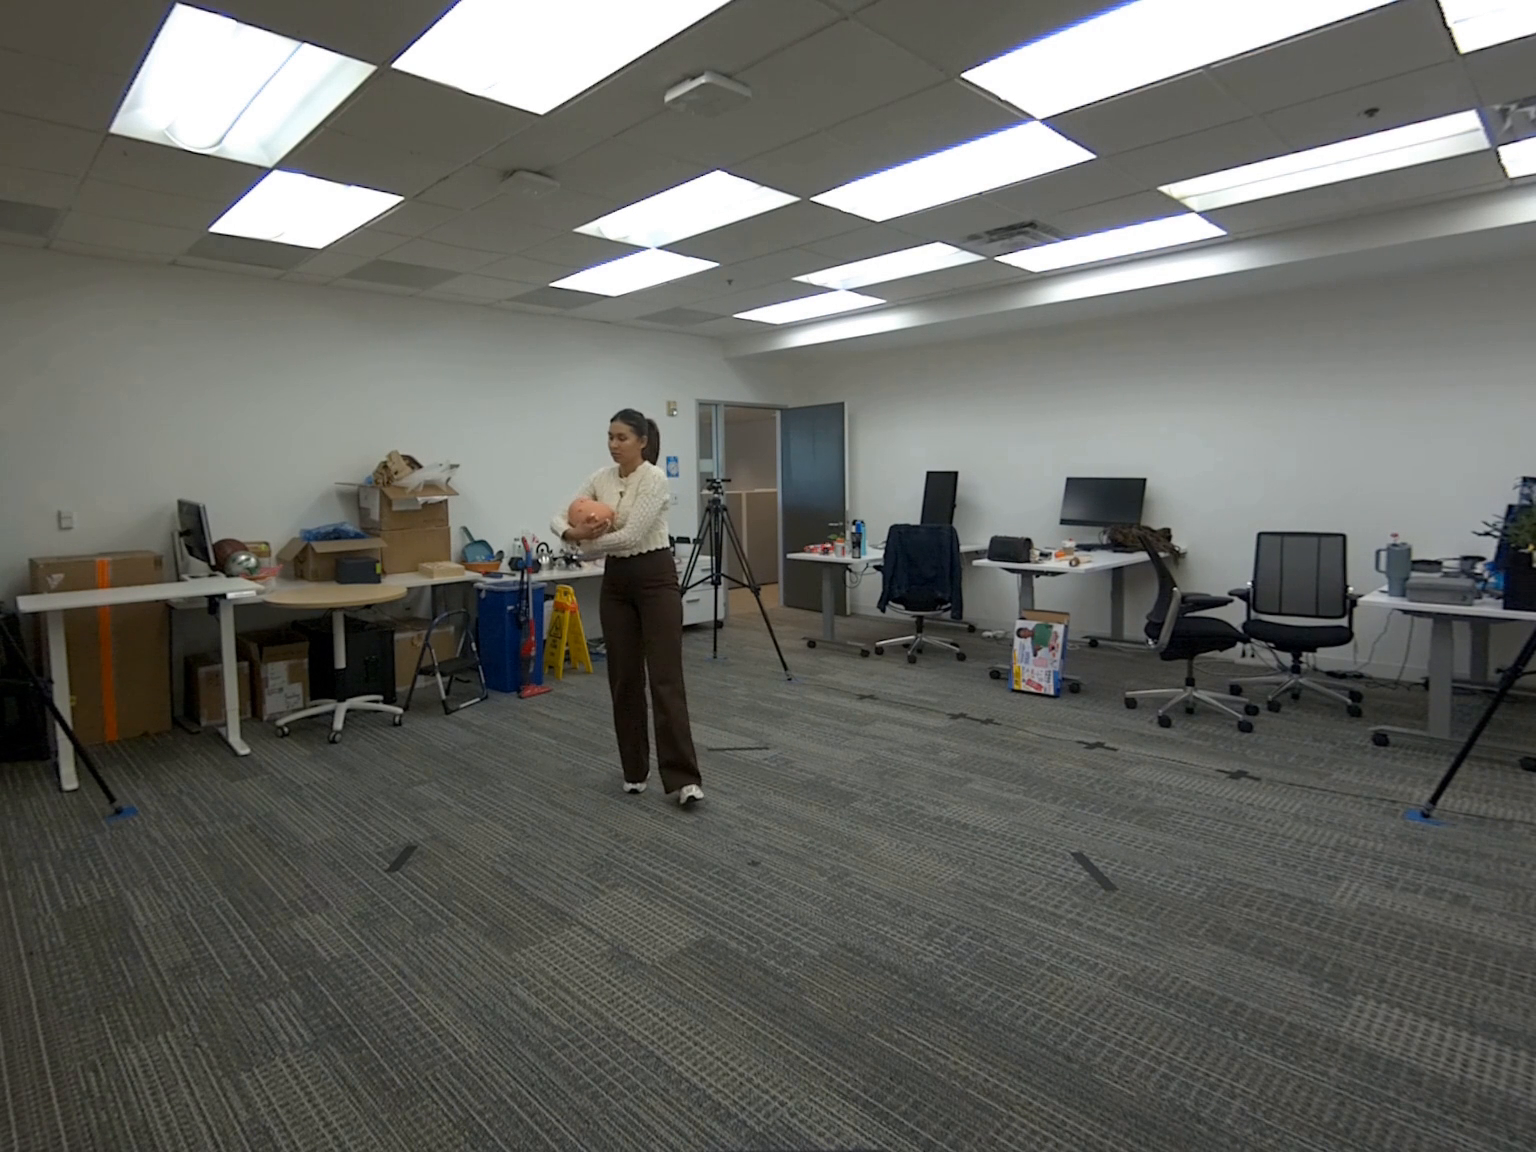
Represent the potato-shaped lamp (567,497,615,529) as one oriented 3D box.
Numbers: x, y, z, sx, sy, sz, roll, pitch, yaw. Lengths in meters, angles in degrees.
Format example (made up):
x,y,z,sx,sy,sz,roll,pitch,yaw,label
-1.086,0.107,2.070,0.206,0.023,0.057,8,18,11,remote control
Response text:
x,y,z,sx,sy,sz,roll,pitch,yaw,label
-0.782,-0.263,3.755,0.161,0.170,0.204,-14,53,-46,potato-shaped lamp
